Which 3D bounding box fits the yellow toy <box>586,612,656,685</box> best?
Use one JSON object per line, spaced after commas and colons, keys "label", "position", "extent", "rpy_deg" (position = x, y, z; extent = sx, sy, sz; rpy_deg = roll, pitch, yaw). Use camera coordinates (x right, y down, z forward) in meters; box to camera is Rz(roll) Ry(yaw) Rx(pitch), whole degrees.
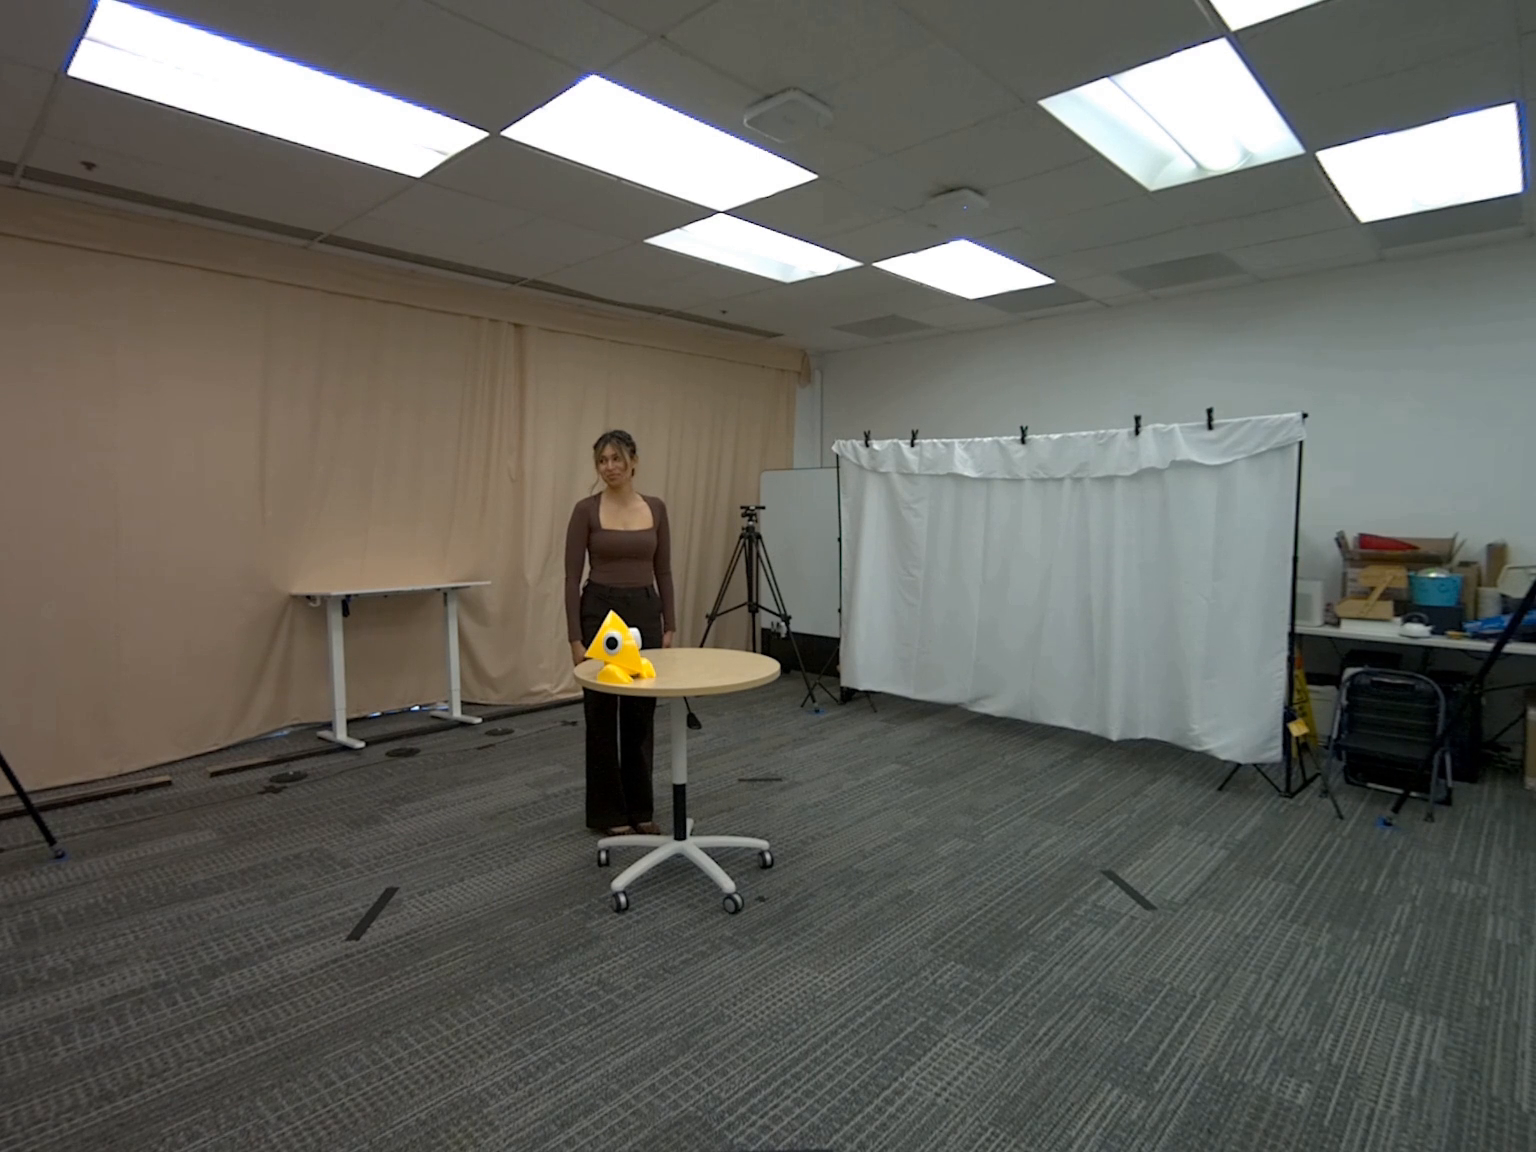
{"label": "yellow toy", "position": [-0.502, 0.239, 2.956], "extent": [0.199, 0.230, 0.199], "rpy_deg": [3, 5, 39]}
